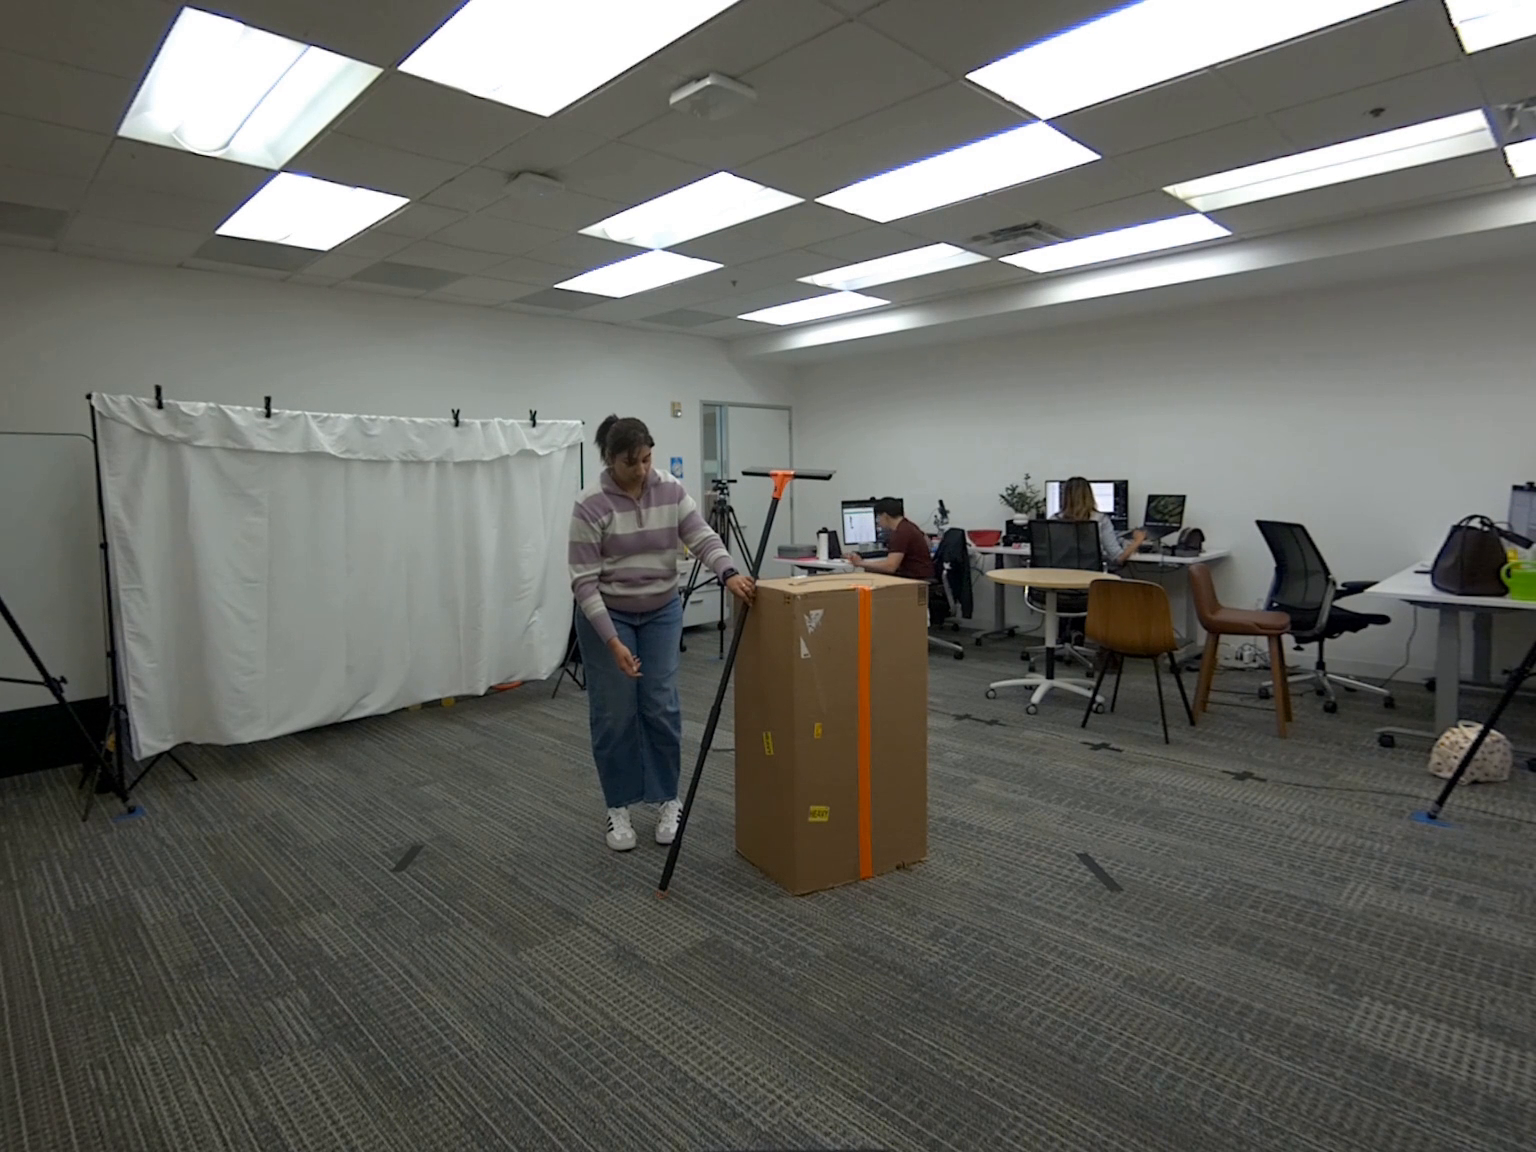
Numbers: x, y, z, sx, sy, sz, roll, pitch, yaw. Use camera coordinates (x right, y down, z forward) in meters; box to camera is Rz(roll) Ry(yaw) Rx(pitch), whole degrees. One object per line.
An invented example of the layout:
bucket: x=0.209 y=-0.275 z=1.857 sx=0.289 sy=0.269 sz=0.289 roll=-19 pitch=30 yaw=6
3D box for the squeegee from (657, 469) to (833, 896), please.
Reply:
squeegee: x=-0.156 y=0.337 z=2.967 sx=0.451 sy=1.547 sz=0.051 roll=6 pitch=-14 yaw=46
